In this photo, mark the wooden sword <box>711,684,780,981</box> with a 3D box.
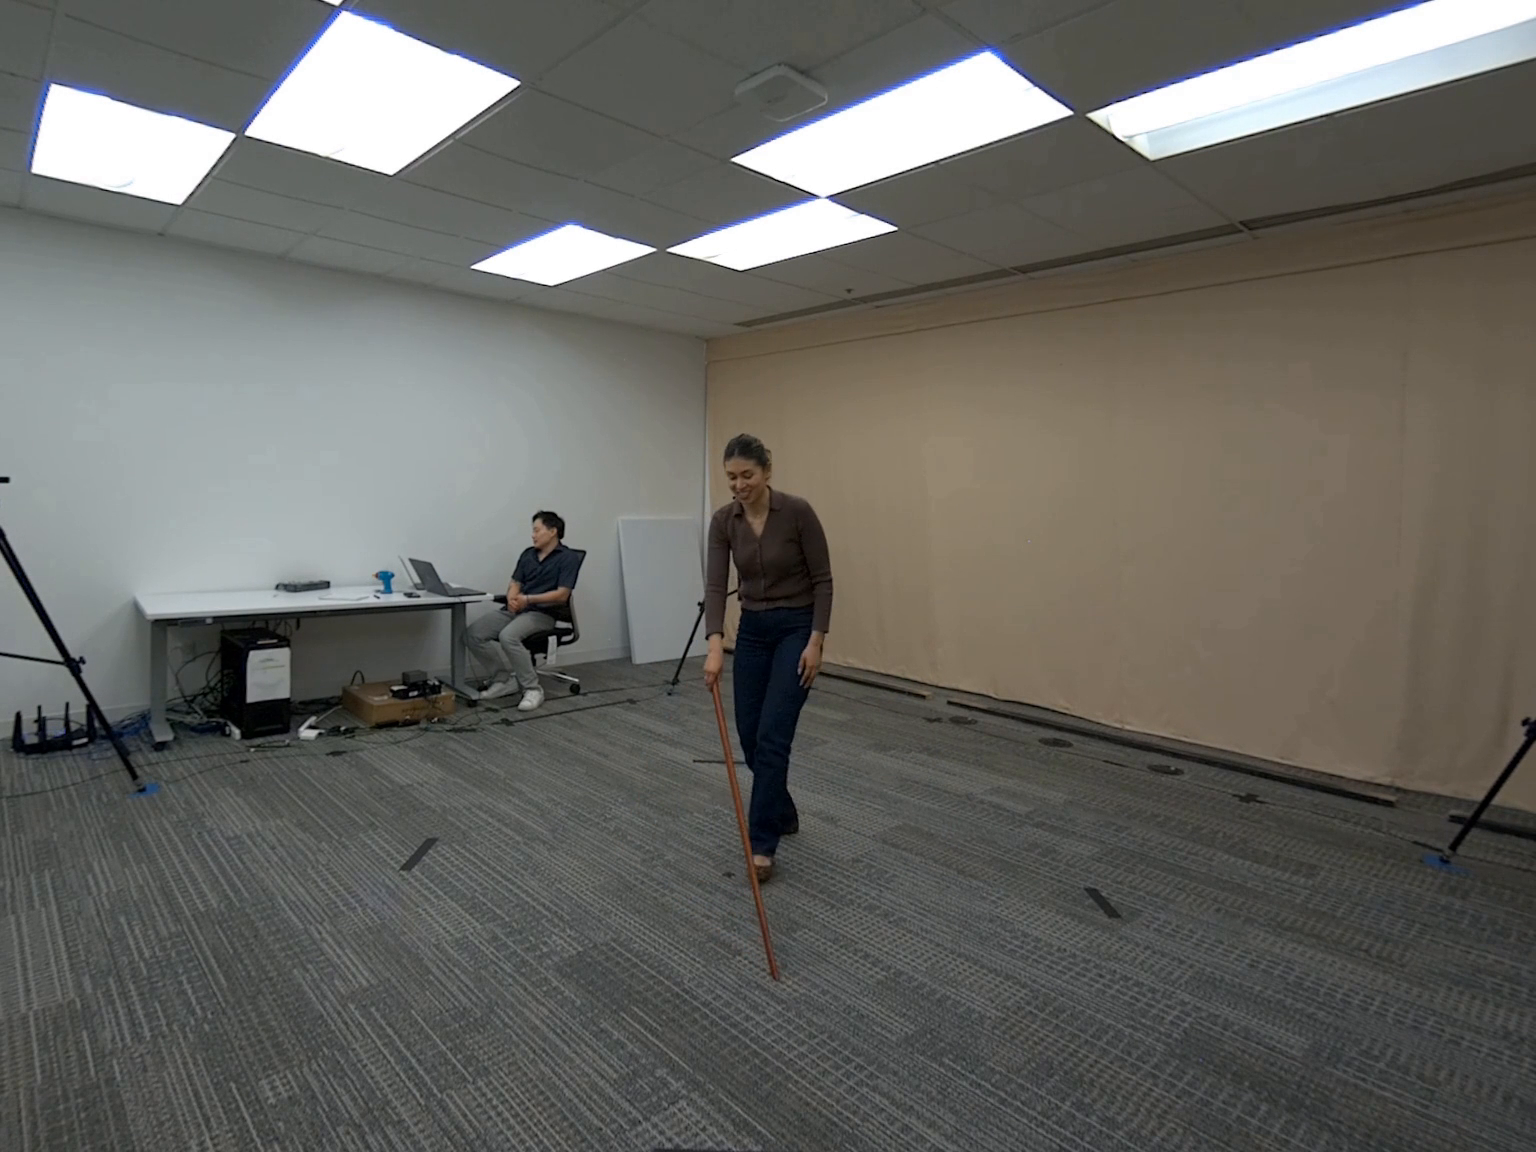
[{"bbox_3d":[-0.102,0.777,2.753,0.024,1.053,0.050,-30,-39,16],"label":"wooden sword"}]
